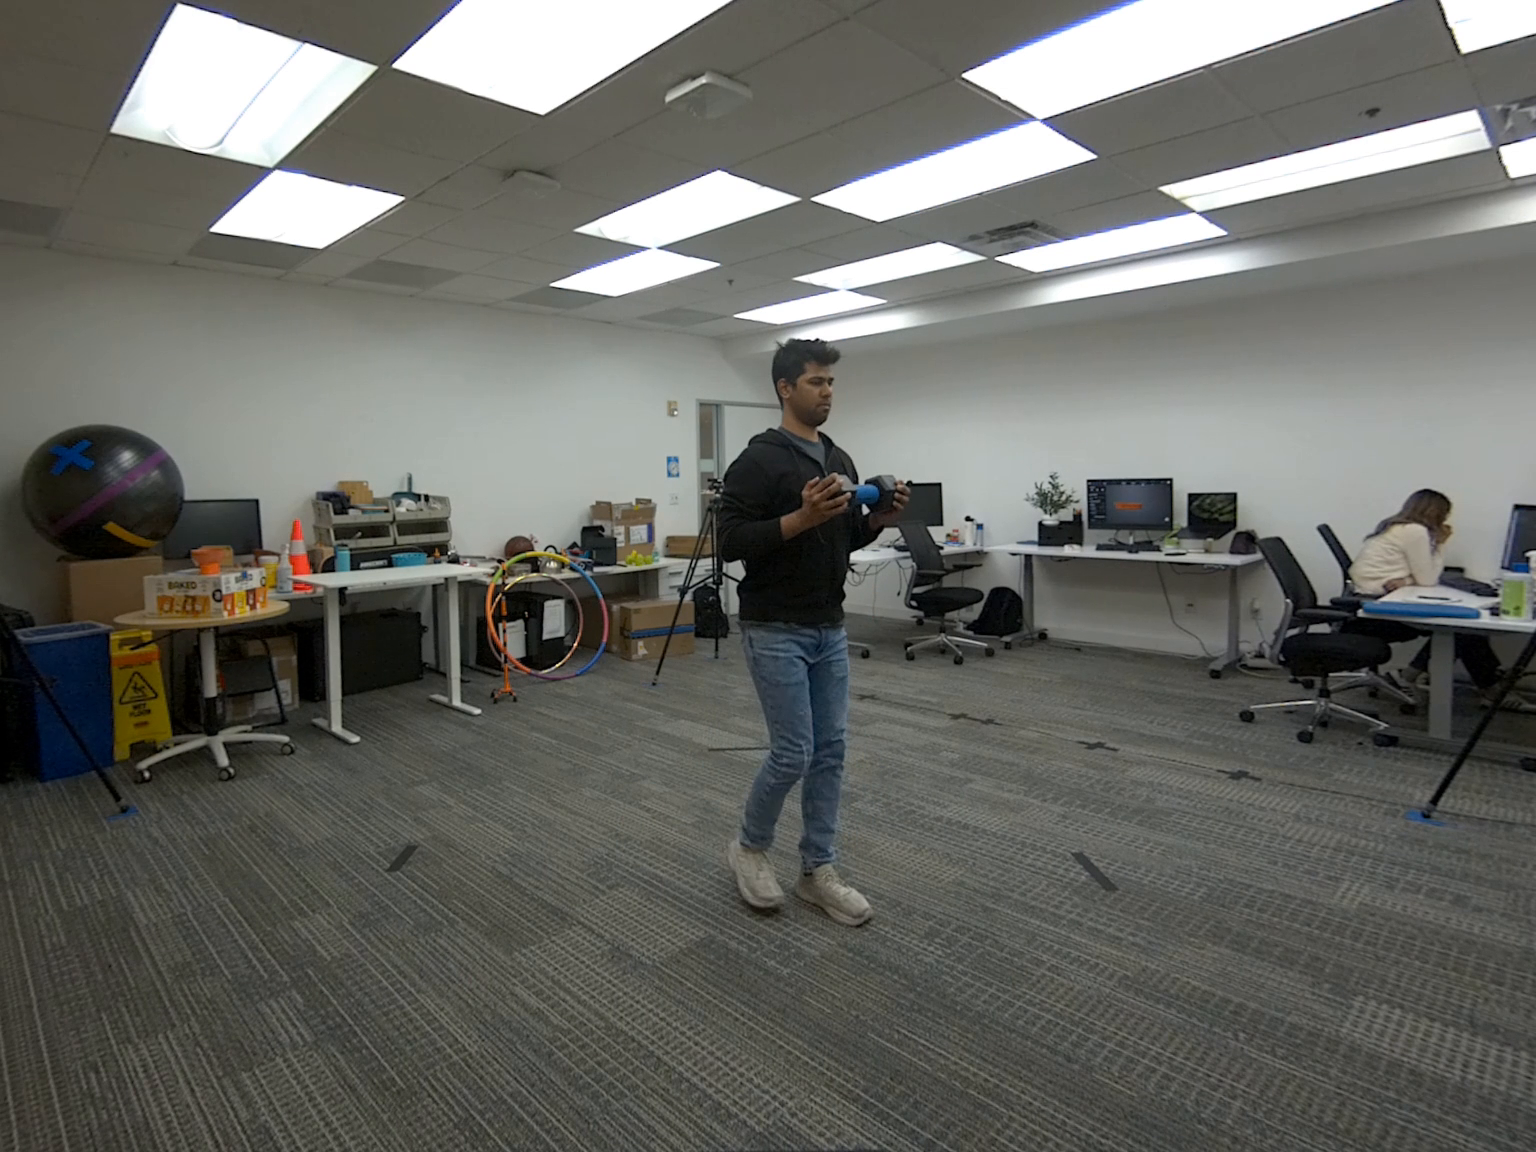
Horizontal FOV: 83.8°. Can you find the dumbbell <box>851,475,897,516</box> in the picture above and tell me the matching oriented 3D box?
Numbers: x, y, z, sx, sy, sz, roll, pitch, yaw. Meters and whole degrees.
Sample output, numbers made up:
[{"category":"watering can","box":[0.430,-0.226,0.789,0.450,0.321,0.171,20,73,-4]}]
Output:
[{"category":"dumbbell","box":[0.260,-0.233,2.587,0.286,0.121,0.113,-5,24,-41]}]
